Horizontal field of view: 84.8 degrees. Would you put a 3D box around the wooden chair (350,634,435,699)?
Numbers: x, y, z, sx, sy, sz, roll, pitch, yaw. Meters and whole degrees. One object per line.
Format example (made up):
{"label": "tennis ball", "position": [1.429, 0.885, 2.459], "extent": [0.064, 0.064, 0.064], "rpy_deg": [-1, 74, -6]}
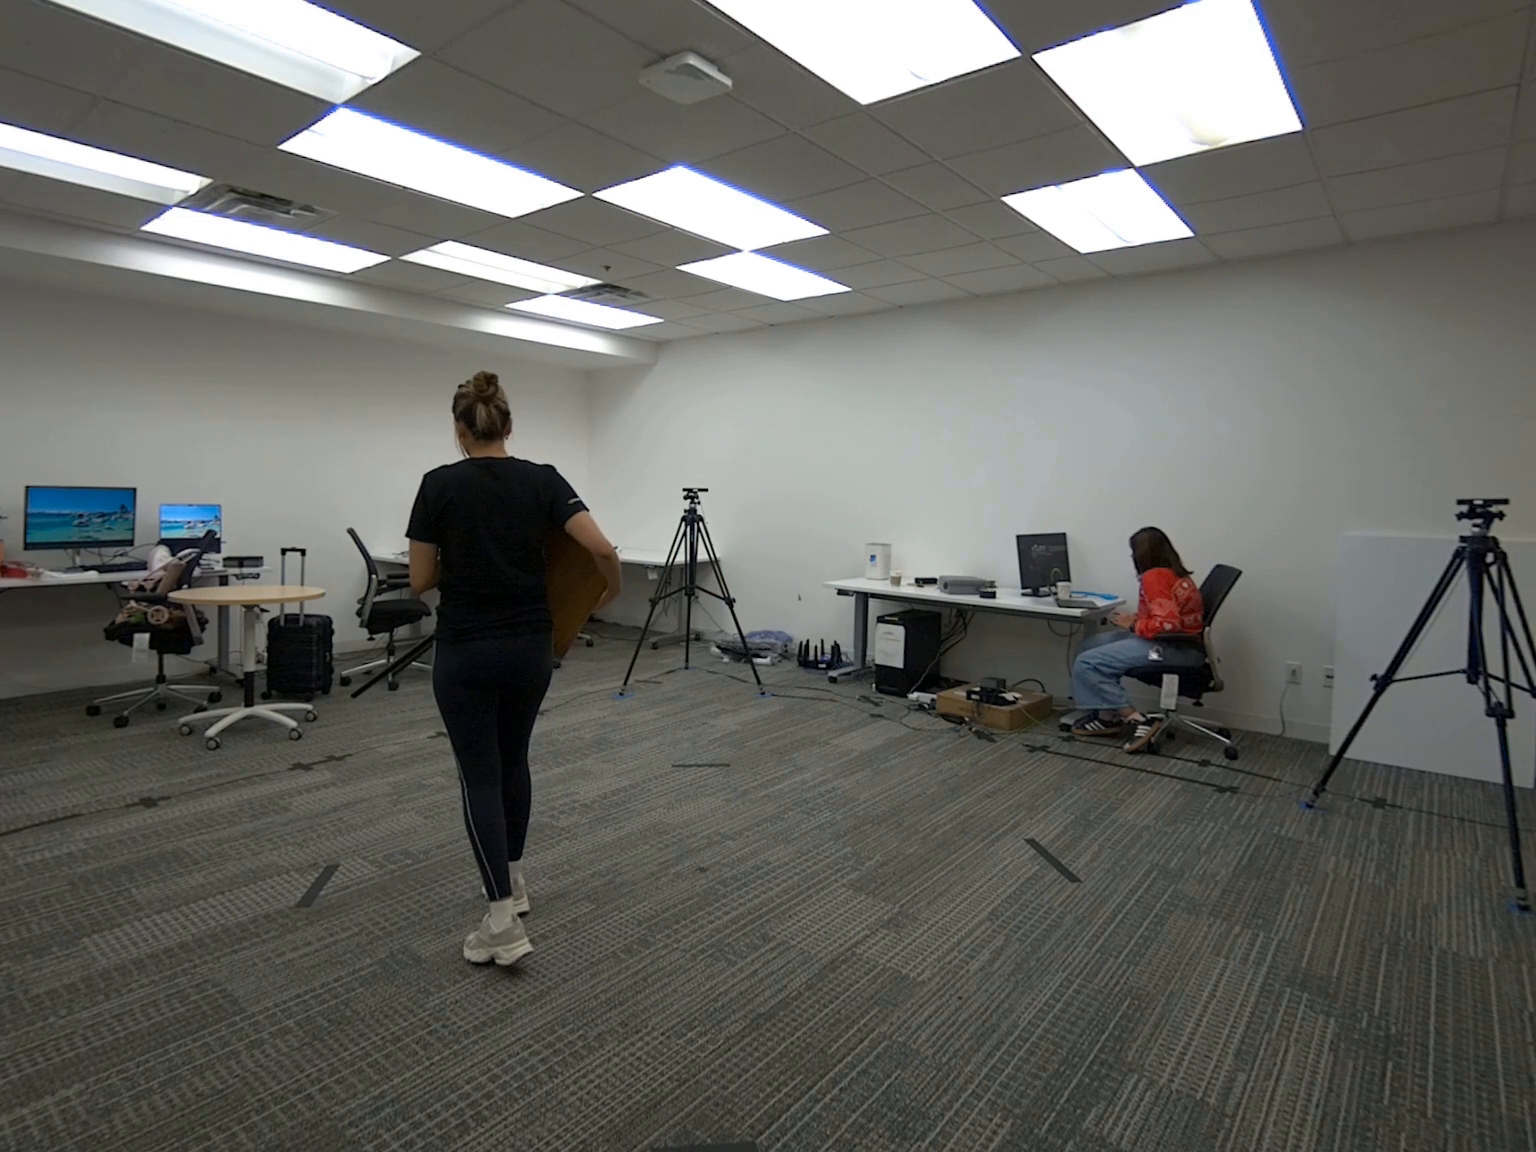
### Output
{"label": "wooden chair", "position": [-0.944, 0.177, 2.975], "extent": [0.474, 0.877, 0.528], "rpy_deg": [38, 0, -7]}
